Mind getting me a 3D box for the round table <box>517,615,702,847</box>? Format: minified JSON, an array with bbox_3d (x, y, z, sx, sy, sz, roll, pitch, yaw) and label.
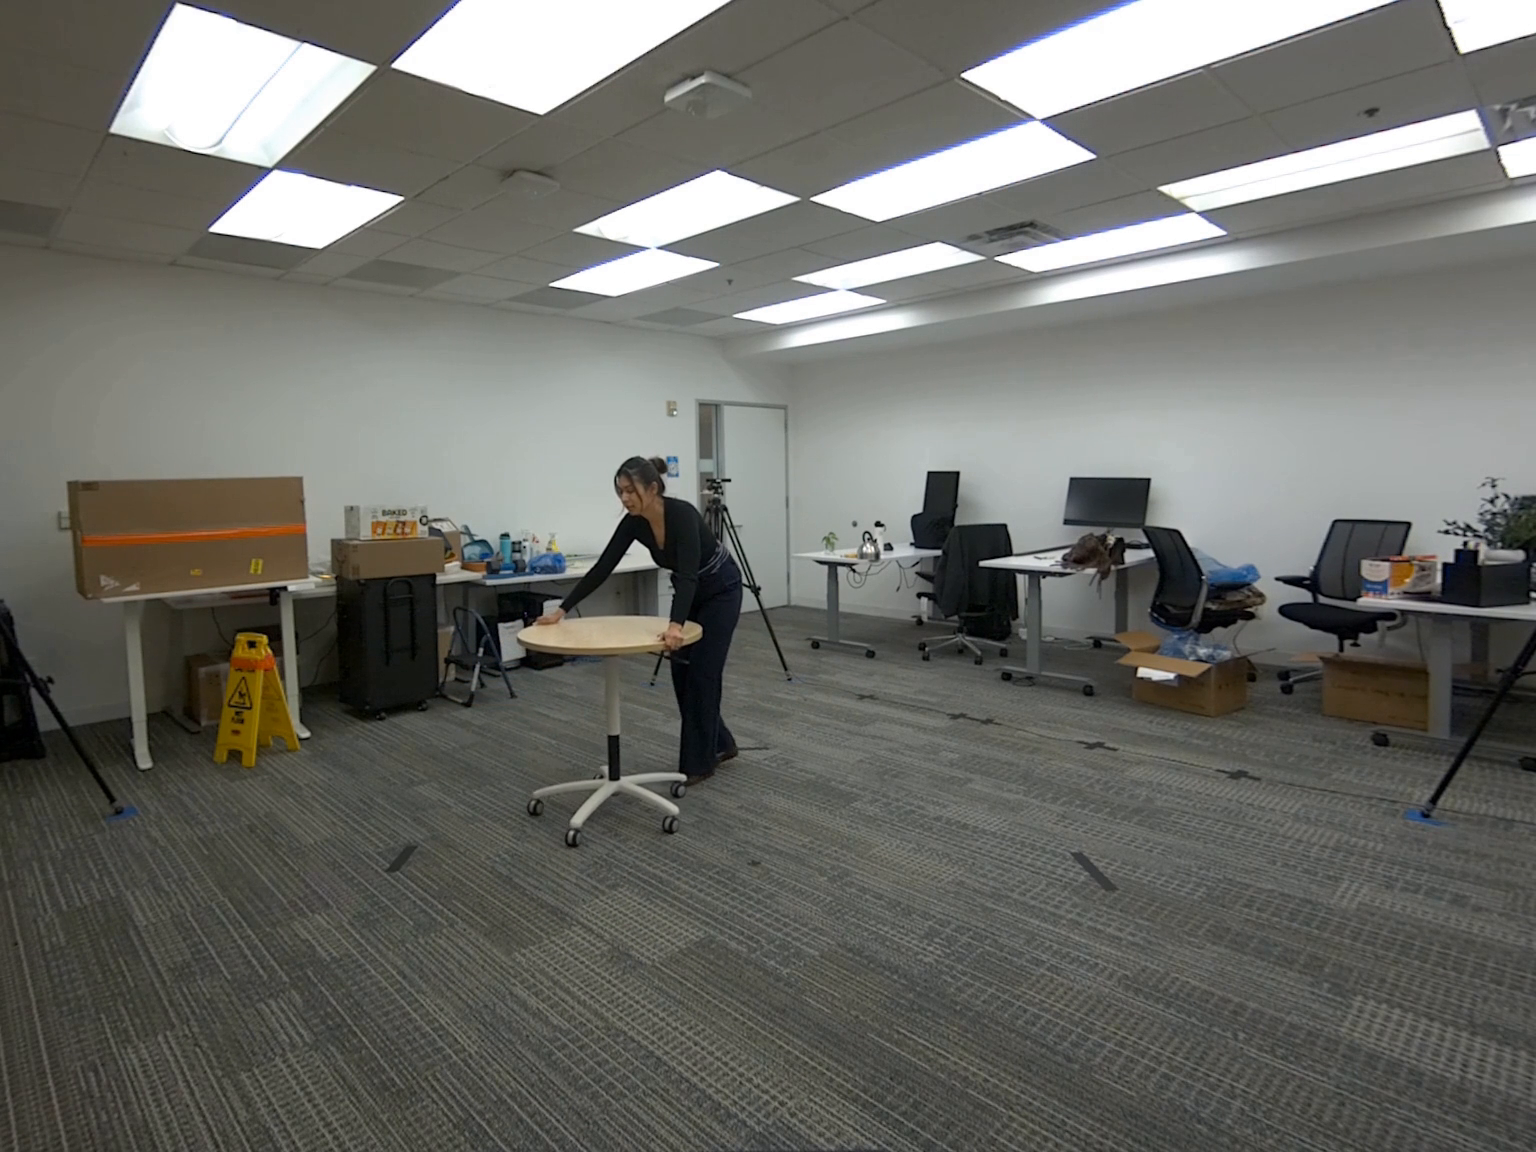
[{"bbox_3d":[-0.652,0.619,3.583,0.763,0.791,0.768,-1,4,-2],"label":"round table"}]
